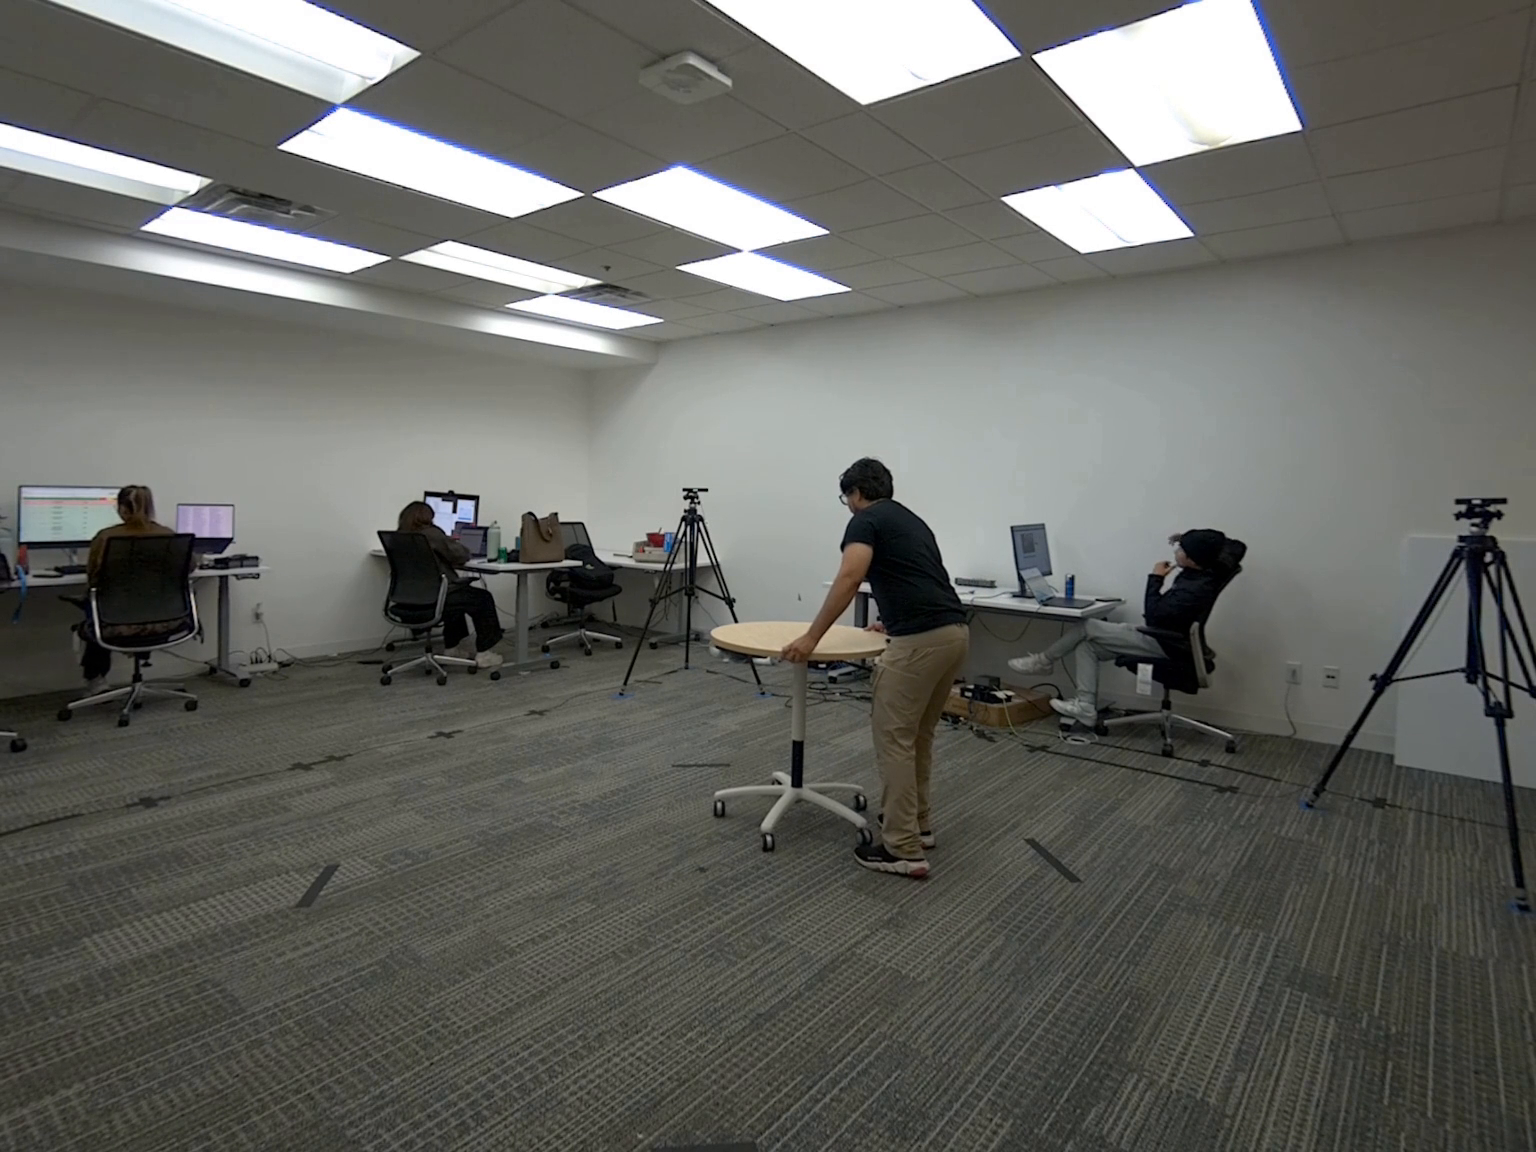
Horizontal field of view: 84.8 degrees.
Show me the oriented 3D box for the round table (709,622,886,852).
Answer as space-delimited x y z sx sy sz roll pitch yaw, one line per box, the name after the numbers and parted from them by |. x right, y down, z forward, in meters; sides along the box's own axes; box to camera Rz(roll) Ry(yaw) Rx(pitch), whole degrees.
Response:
0.103 0.635 3.593 0.784 0.784 0.789 2 4 -2 | round table
